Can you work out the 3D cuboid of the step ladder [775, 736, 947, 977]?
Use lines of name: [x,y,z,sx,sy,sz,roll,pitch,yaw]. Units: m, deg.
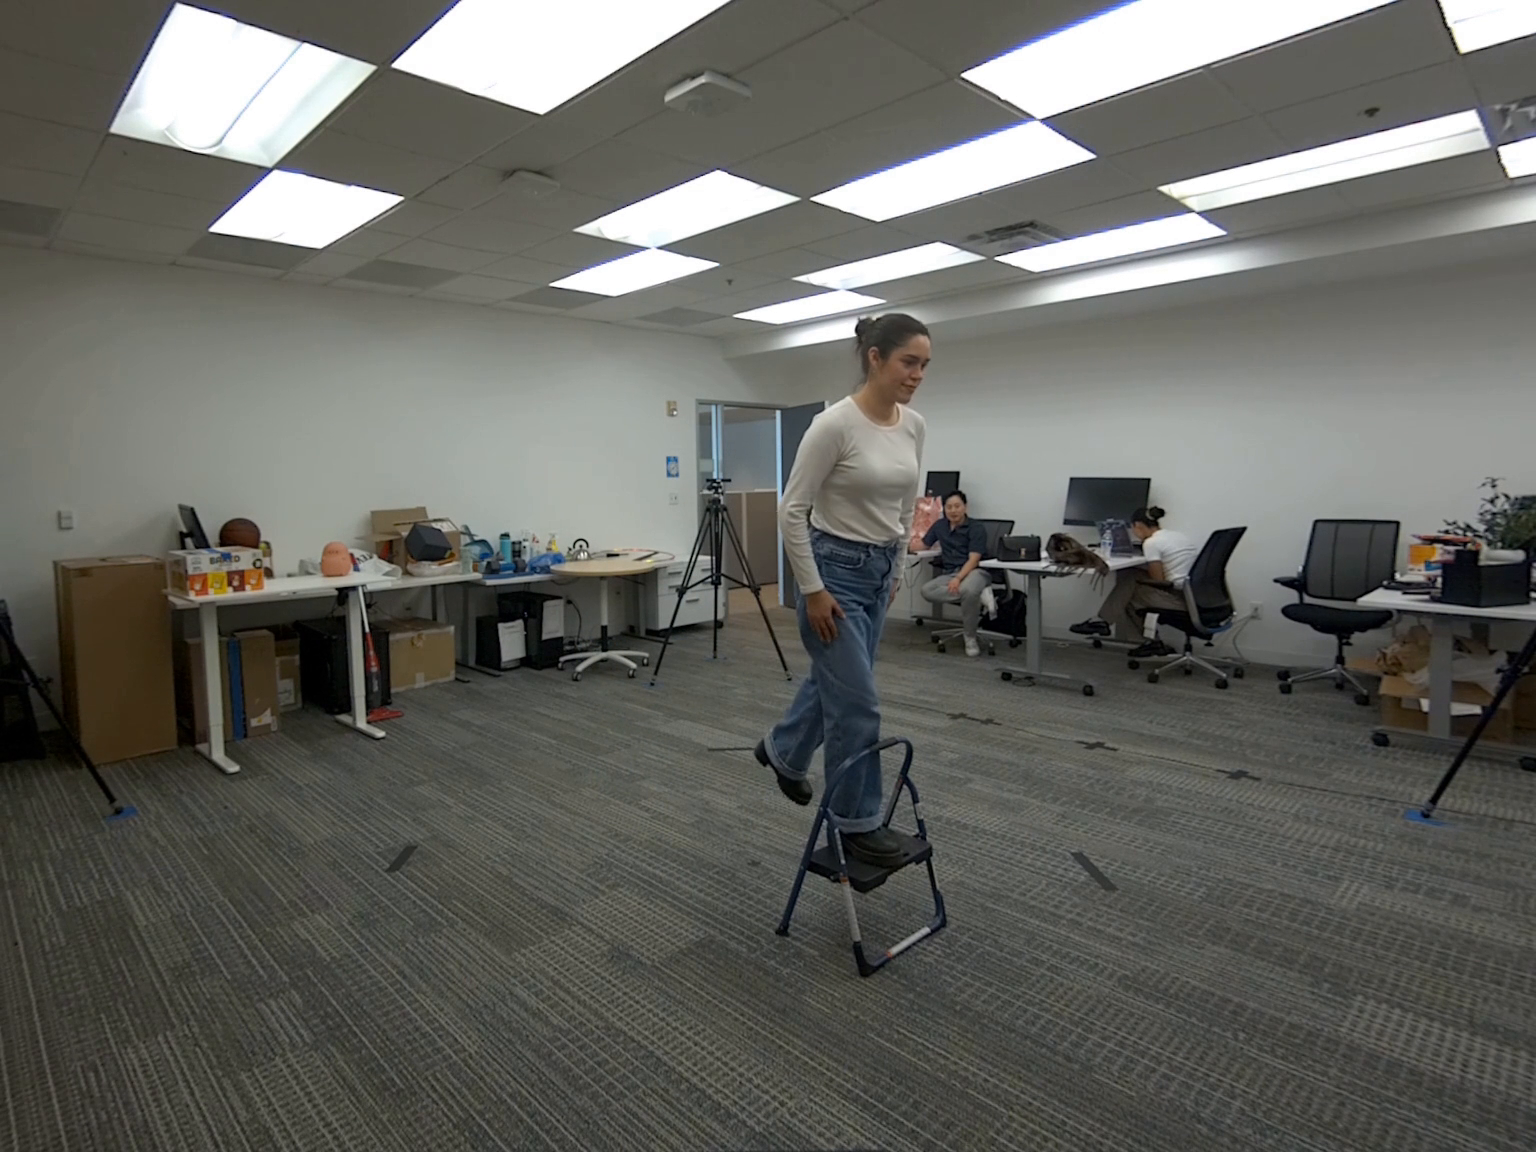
step ladder: [0.291,0.793,2.624,0.360,0.603,0.419,4,7,45]
